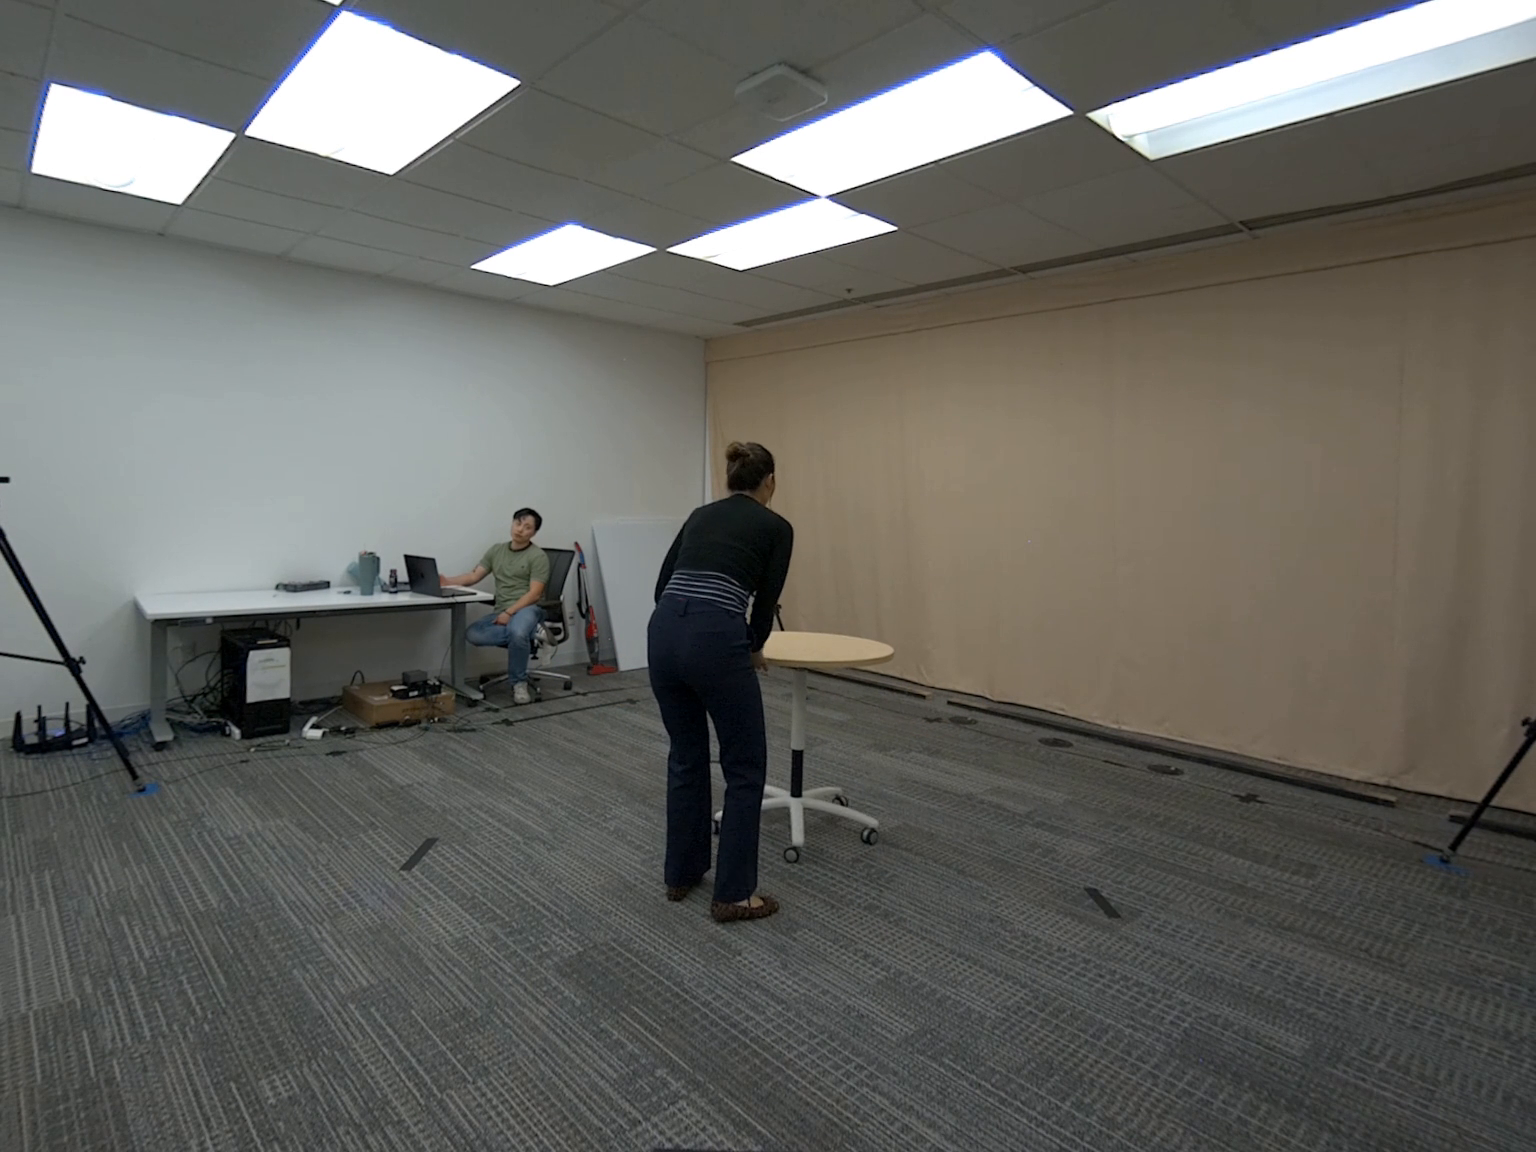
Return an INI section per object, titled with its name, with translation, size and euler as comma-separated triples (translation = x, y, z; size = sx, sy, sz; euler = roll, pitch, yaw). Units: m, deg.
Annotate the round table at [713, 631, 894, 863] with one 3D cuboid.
[round table]
translation = 0.120, 0.683, 3.549
size = 0.763, 0.792, 0.766
euler = 2, 4, -1
